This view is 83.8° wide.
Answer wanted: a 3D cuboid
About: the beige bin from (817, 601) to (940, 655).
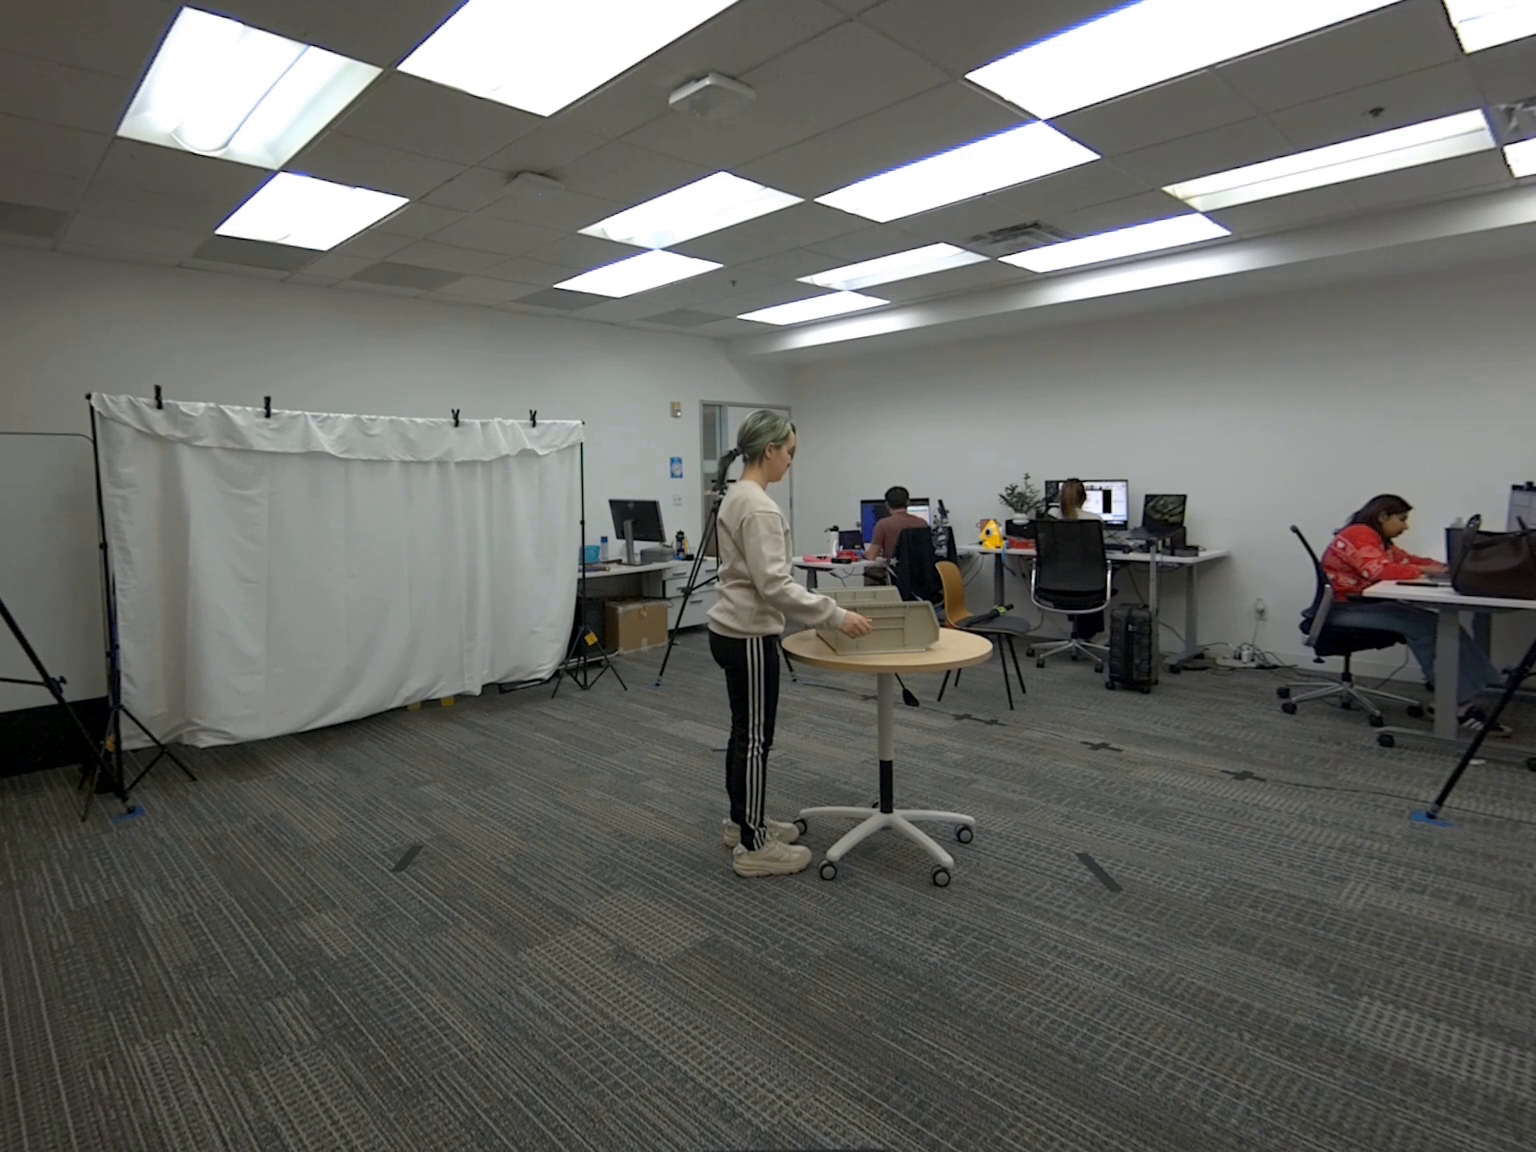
[{"bbox_3d":[0.385,0.160,3.170,0.375,0.188,0.427,-3,7,-6],"label":"beige bin"}]
